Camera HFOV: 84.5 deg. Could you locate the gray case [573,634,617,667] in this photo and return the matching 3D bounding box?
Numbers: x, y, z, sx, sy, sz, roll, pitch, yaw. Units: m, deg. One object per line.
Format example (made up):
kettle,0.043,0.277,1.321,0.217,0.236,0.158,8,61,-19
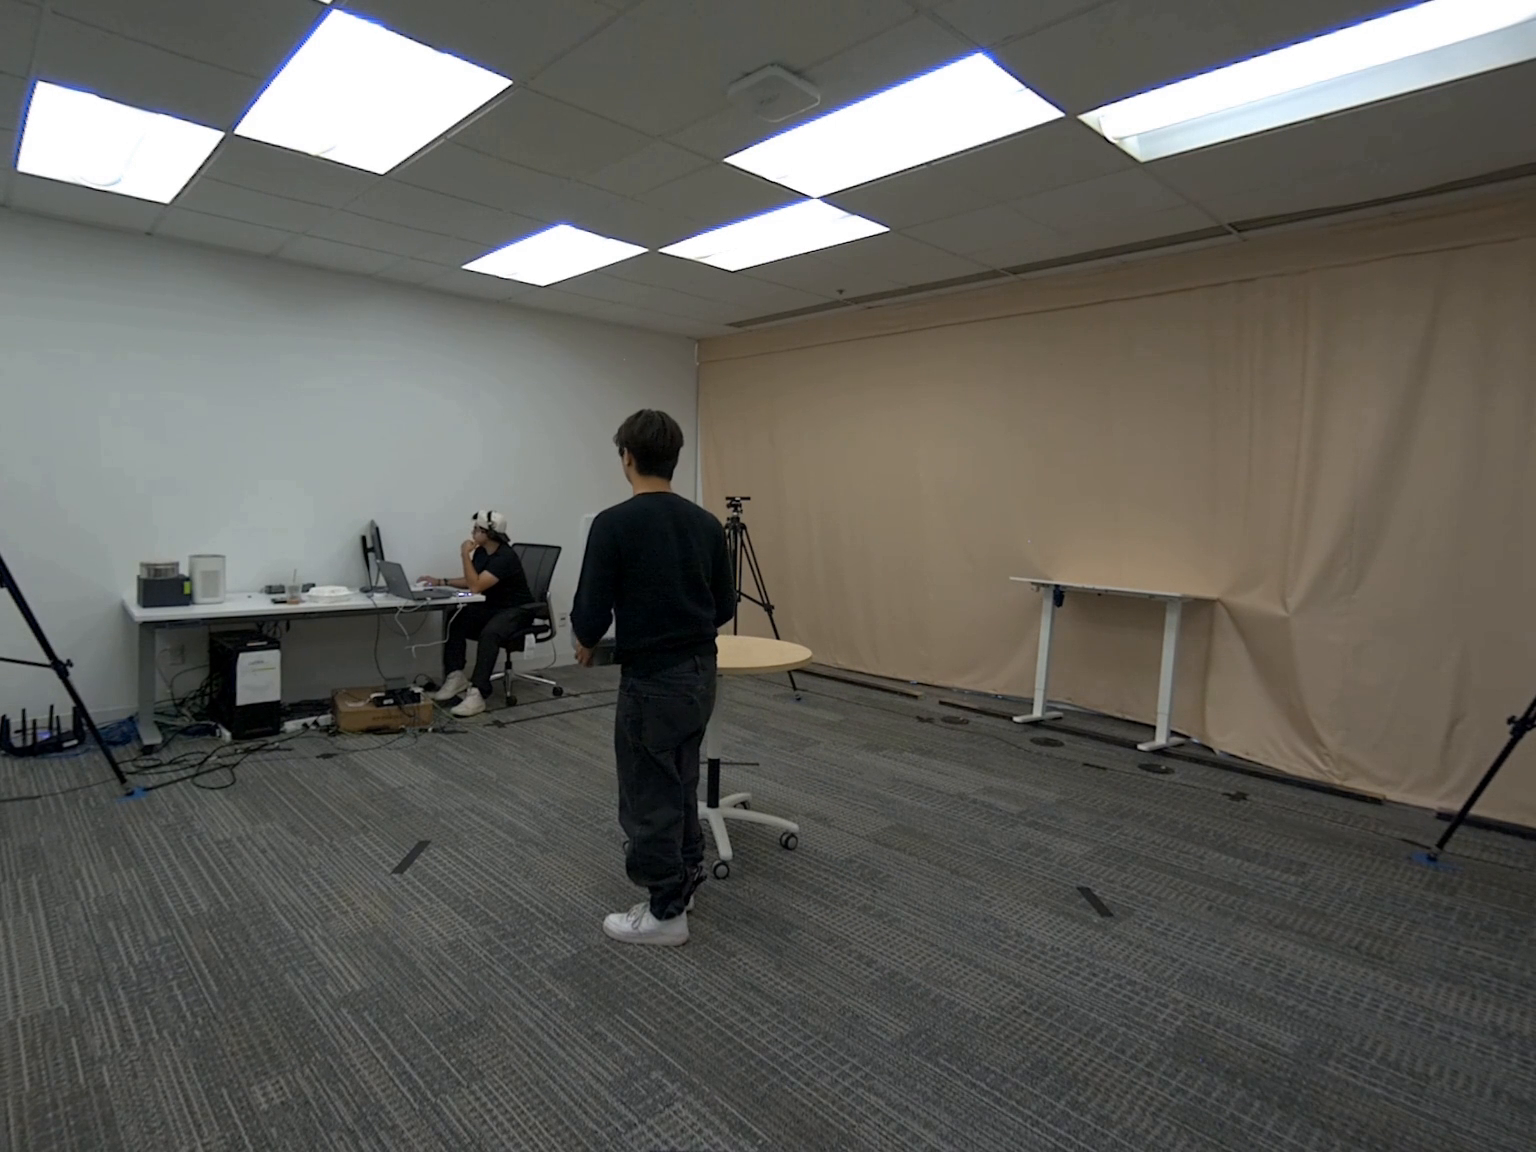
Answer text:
gray case,-0.530,0.226,2.899,0.252,0.104,0.267,0,11,-29
